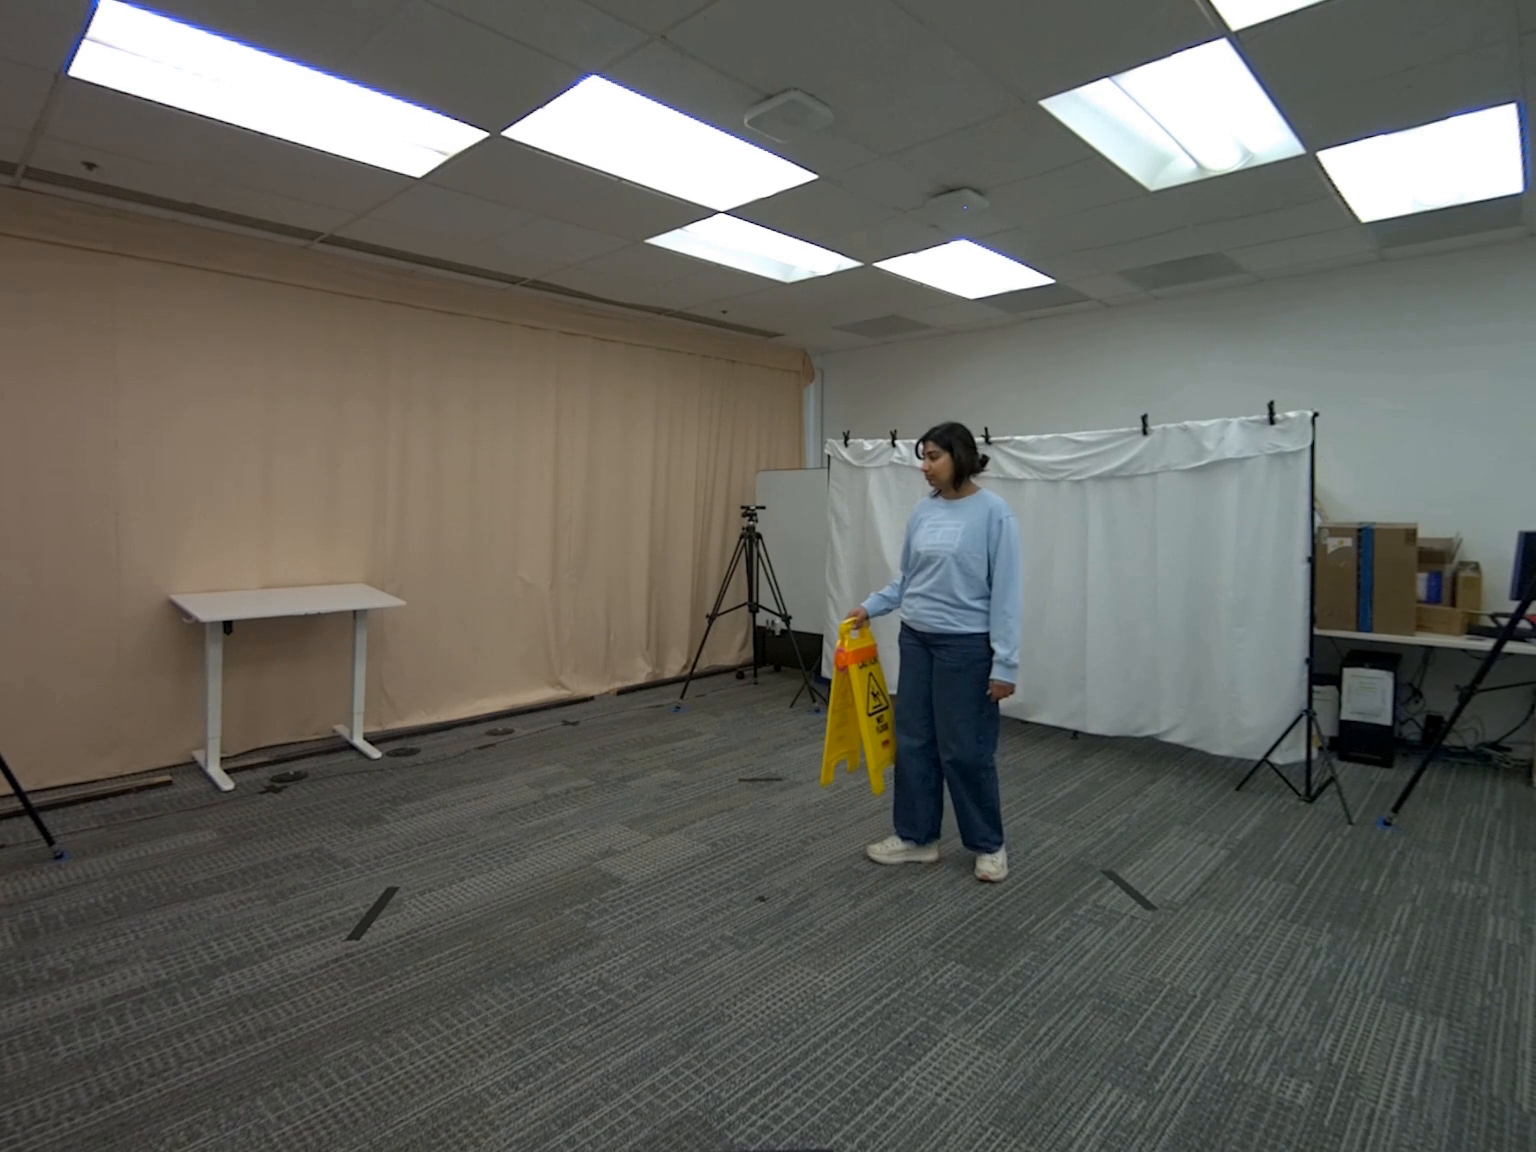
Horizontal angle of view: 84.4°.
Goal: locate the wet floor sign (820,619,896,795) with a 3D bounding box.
[{"bbox_3d":[0.370,0.496,3.335,0.298,0.645,0.274,-2,3,37],"label":"wet floor sign"}]
